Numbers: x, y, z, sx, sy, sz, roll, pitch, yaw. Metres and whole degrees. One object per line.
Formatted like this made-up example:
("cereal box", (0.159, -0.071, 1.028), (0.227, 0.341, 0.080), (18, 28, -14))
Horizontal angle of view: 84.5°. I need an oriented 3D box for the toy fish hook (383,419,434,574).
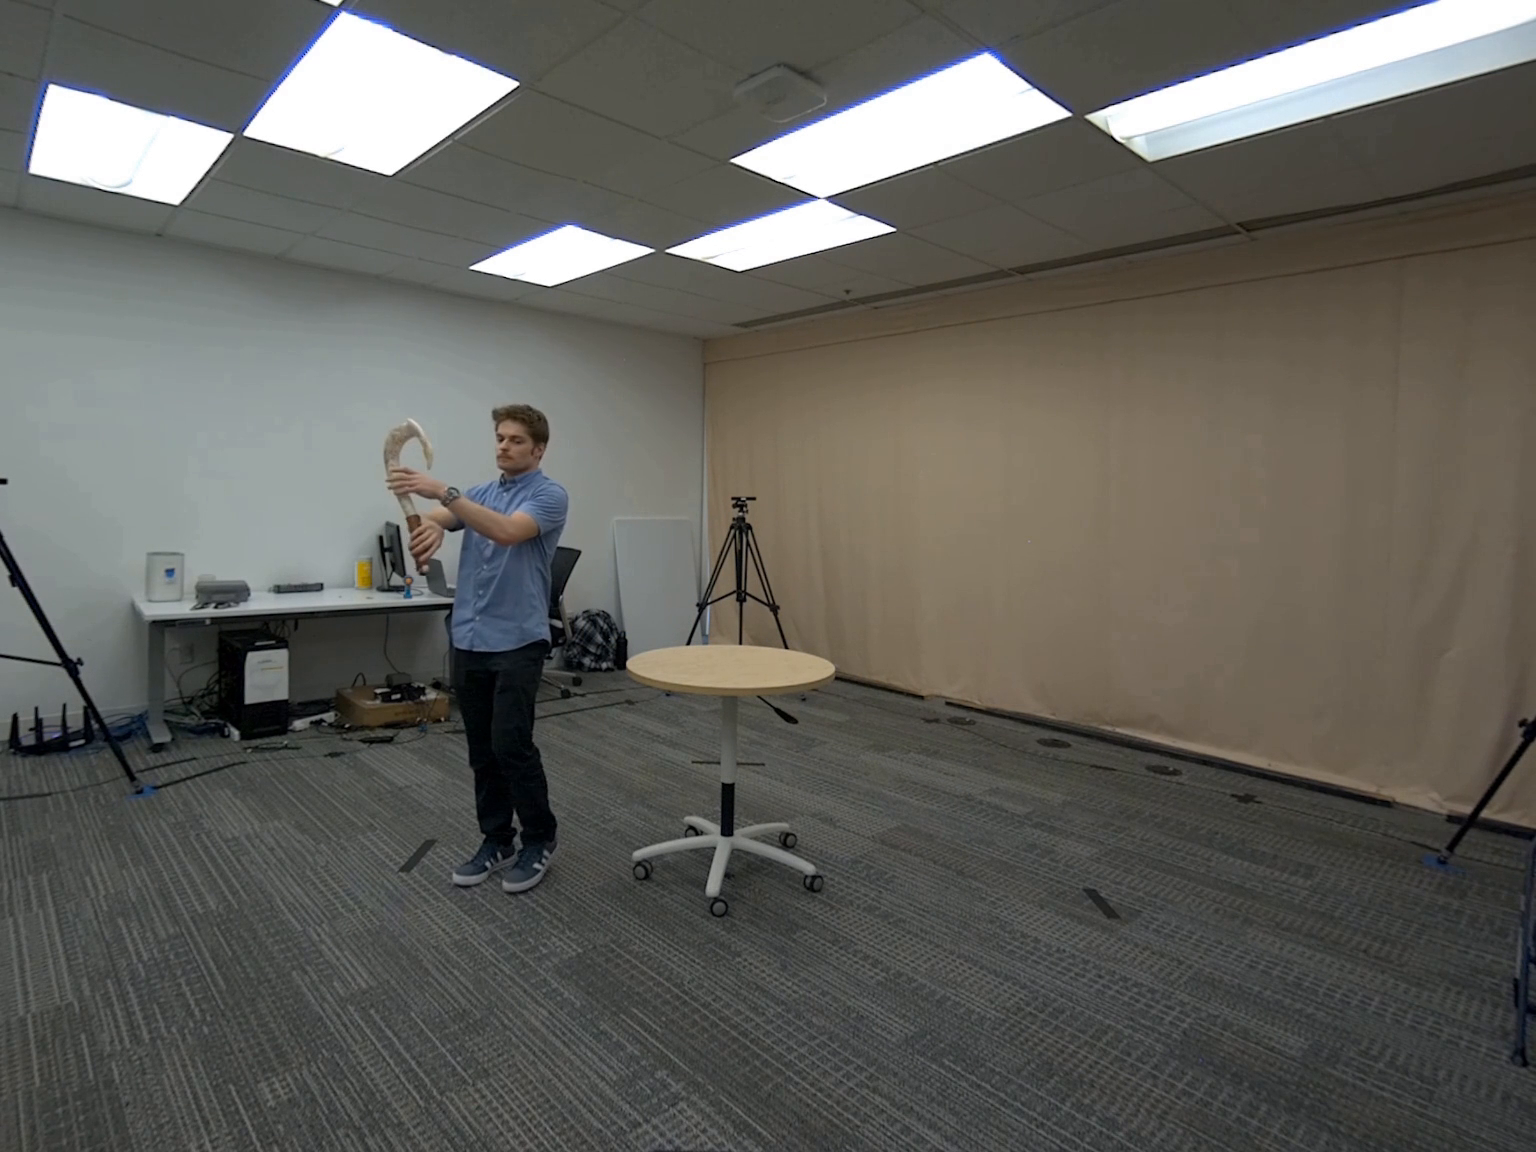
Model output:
("toy fish hook", (-1.152, -0.256, 2.710), (0.227, 0.511, 0.047), (-22, -11, 34))
